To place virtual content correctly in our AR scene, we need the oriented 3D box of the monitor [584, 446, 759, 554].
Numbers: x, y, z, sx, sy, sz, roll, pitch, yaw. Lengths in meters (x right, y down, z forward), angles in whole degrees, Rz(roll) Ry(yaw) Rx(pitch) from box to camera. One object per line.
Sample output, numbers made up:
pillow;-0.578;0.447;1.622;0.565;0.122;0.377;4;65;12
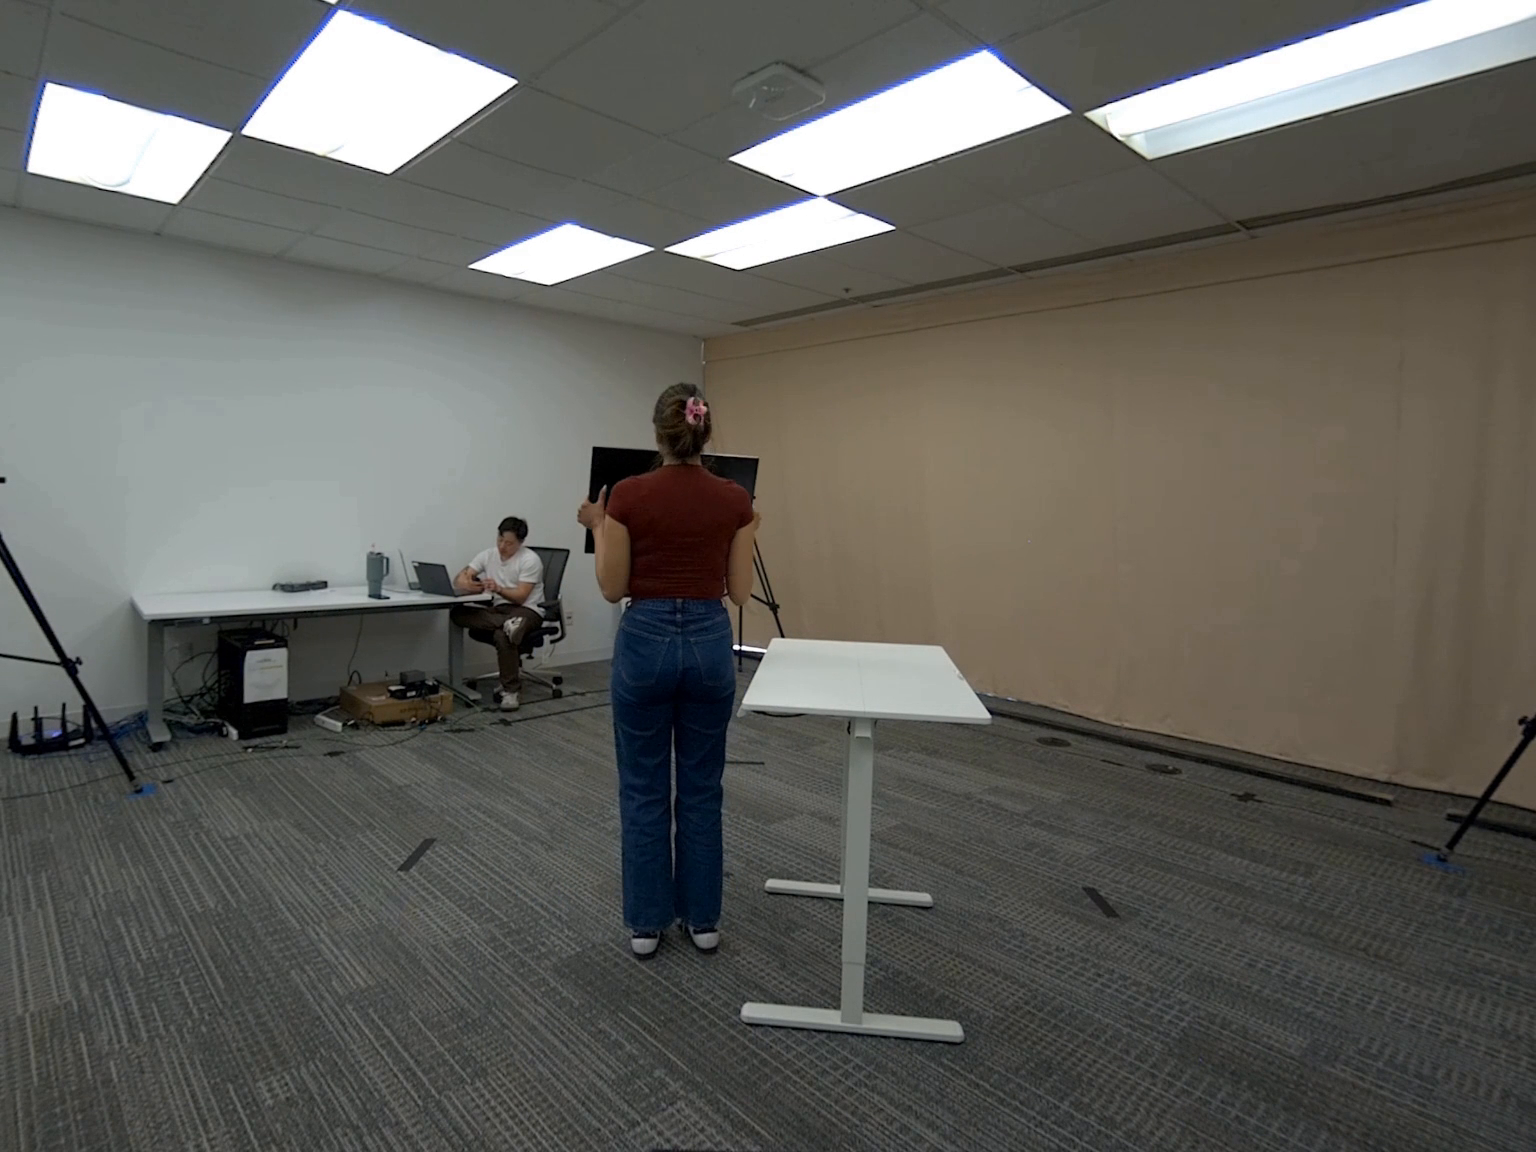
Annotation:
monitor;-0.338;-0.172;2.779;0.531;0.515;0.192;1;37;-18
